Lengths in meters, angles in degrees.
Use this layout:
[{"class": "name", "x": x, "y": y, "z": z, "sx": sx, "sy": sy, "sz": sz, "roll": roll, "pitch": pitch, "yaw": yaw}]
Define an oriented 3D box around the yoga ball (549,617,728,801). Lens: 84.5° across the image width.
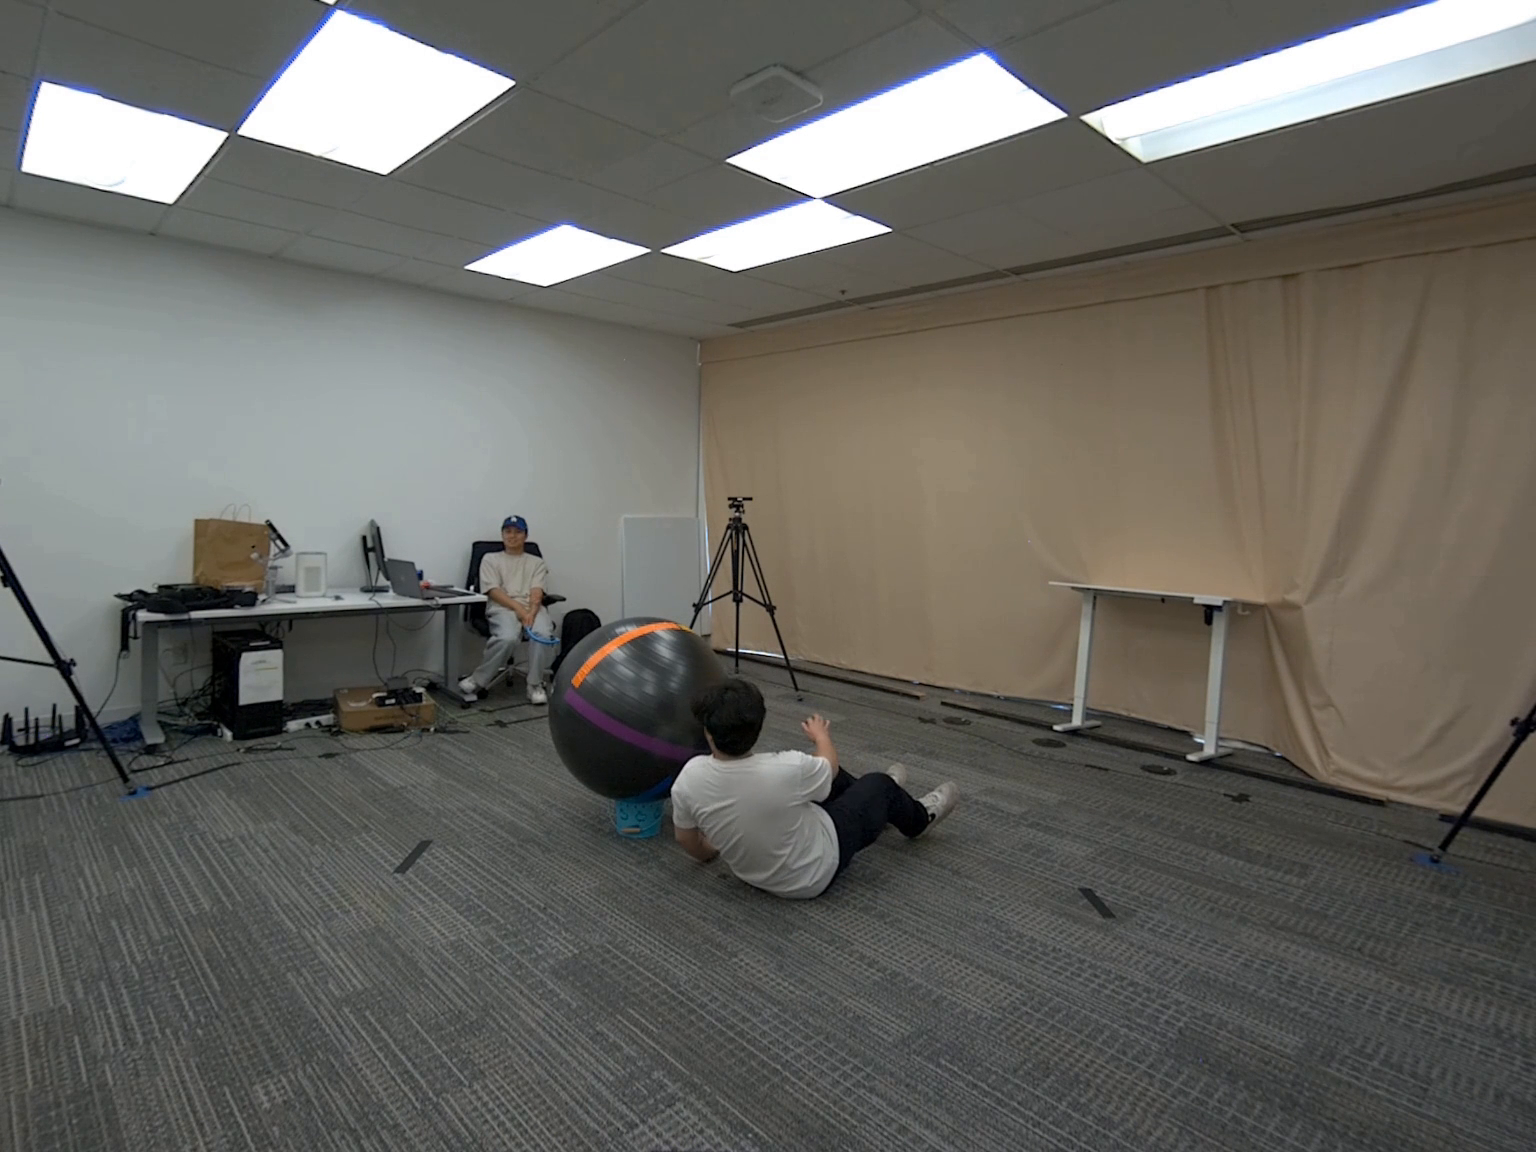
[{"class": "yoga ball", "x": -0.537, "y": 0.548, "z": 3.516, "sx": 0.757, "sy": 0.756, "sz": 0.761, "roll": 1, "pitch": 4, "yaw": -1}]
